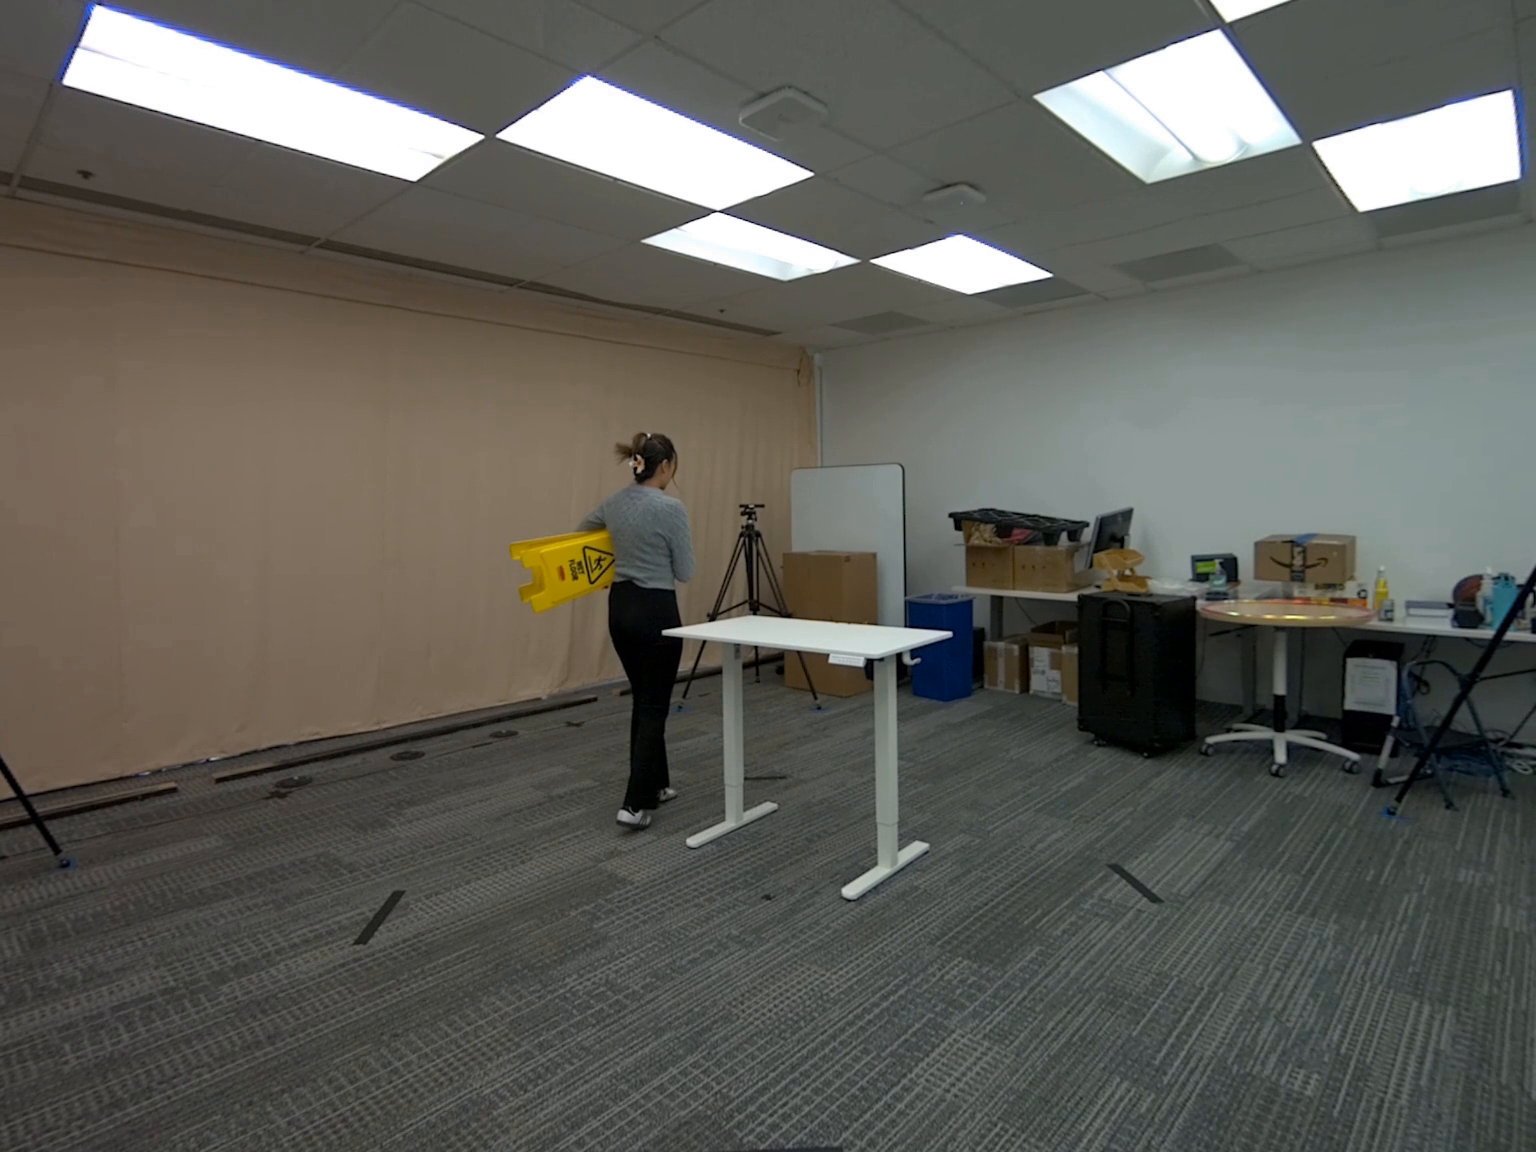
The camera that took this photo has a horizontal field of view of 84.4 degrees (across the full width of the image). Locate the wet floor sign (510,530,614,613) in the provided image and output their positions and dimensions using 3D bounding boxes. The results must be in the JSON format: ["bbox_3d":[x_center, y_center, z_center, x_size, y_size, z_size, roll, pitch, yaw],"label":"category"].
[{"bbox_3d":[-0.819,-0.072,3.862,0.634,0.279,0.298,-16,14,-23],"label":"wet floor sign"}]
